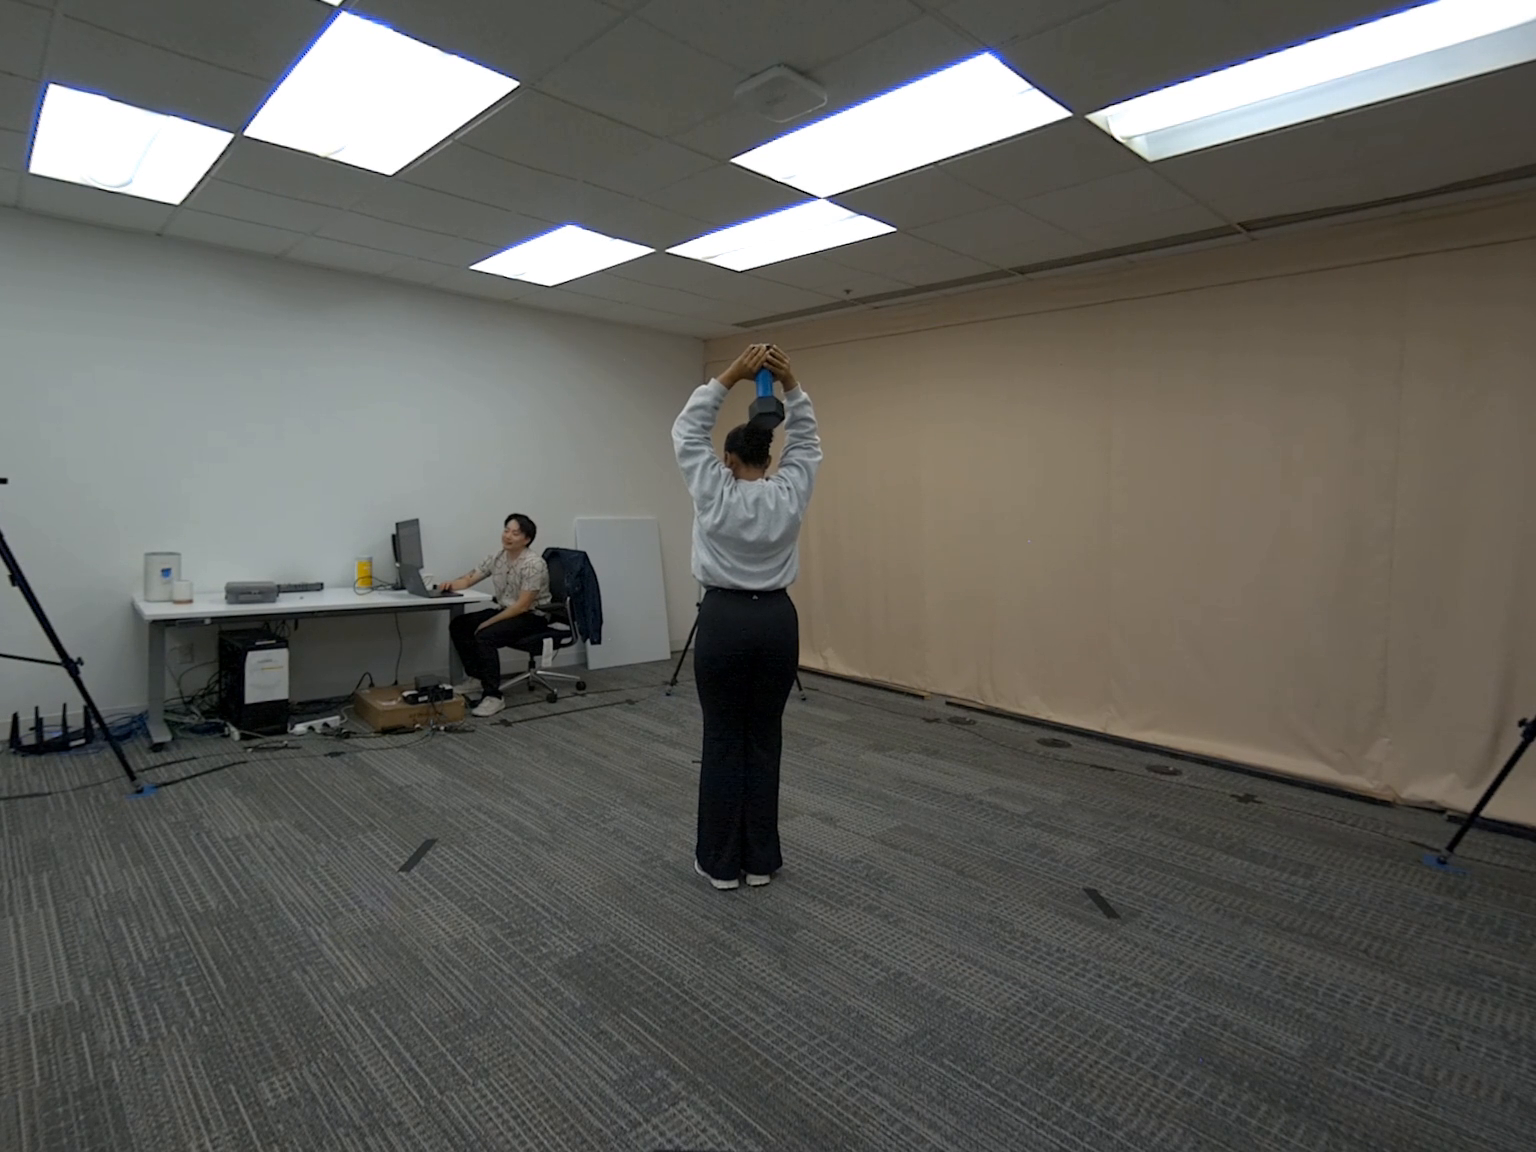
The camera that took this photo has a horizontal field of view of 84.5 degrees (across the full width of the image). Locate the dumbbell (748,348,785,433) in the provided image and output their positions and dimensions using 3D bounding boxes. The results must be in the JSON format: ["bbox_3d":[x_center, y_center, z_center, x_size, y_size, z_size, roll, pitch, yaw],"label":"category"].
[{"bbox_3d":[-0.023,-0.650,2.929,0.110,0.298,0.119,-13,-25,29],"label":"dumbbell"}]
